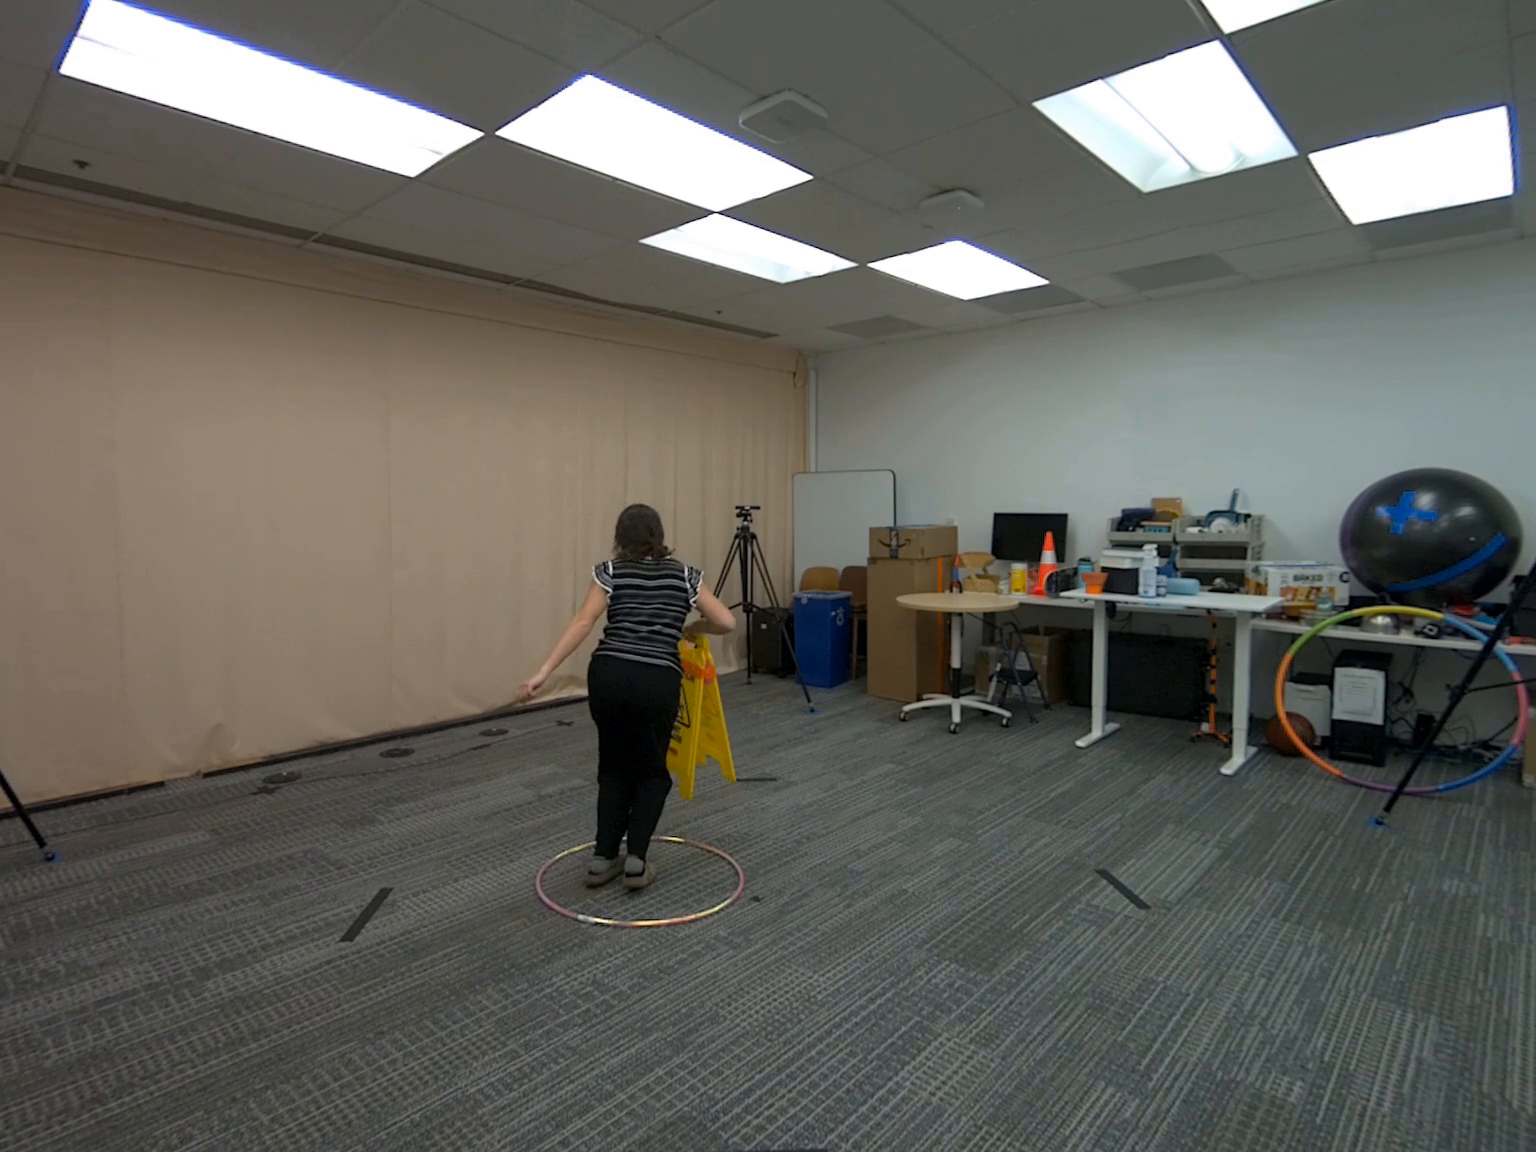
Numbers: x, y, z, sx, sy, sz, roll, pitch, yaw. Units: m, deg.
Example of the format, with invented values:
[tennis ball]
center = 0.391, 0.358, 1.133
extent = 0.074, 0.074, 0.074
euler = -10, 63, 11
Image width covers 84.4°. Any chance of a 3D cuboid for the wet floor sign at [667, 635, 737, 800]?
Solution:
[wet floor sign]
center = -0.331, 0.499, 3.463
extent = 0.282, 0.641, 0.292
euler = -9, 14, -40
